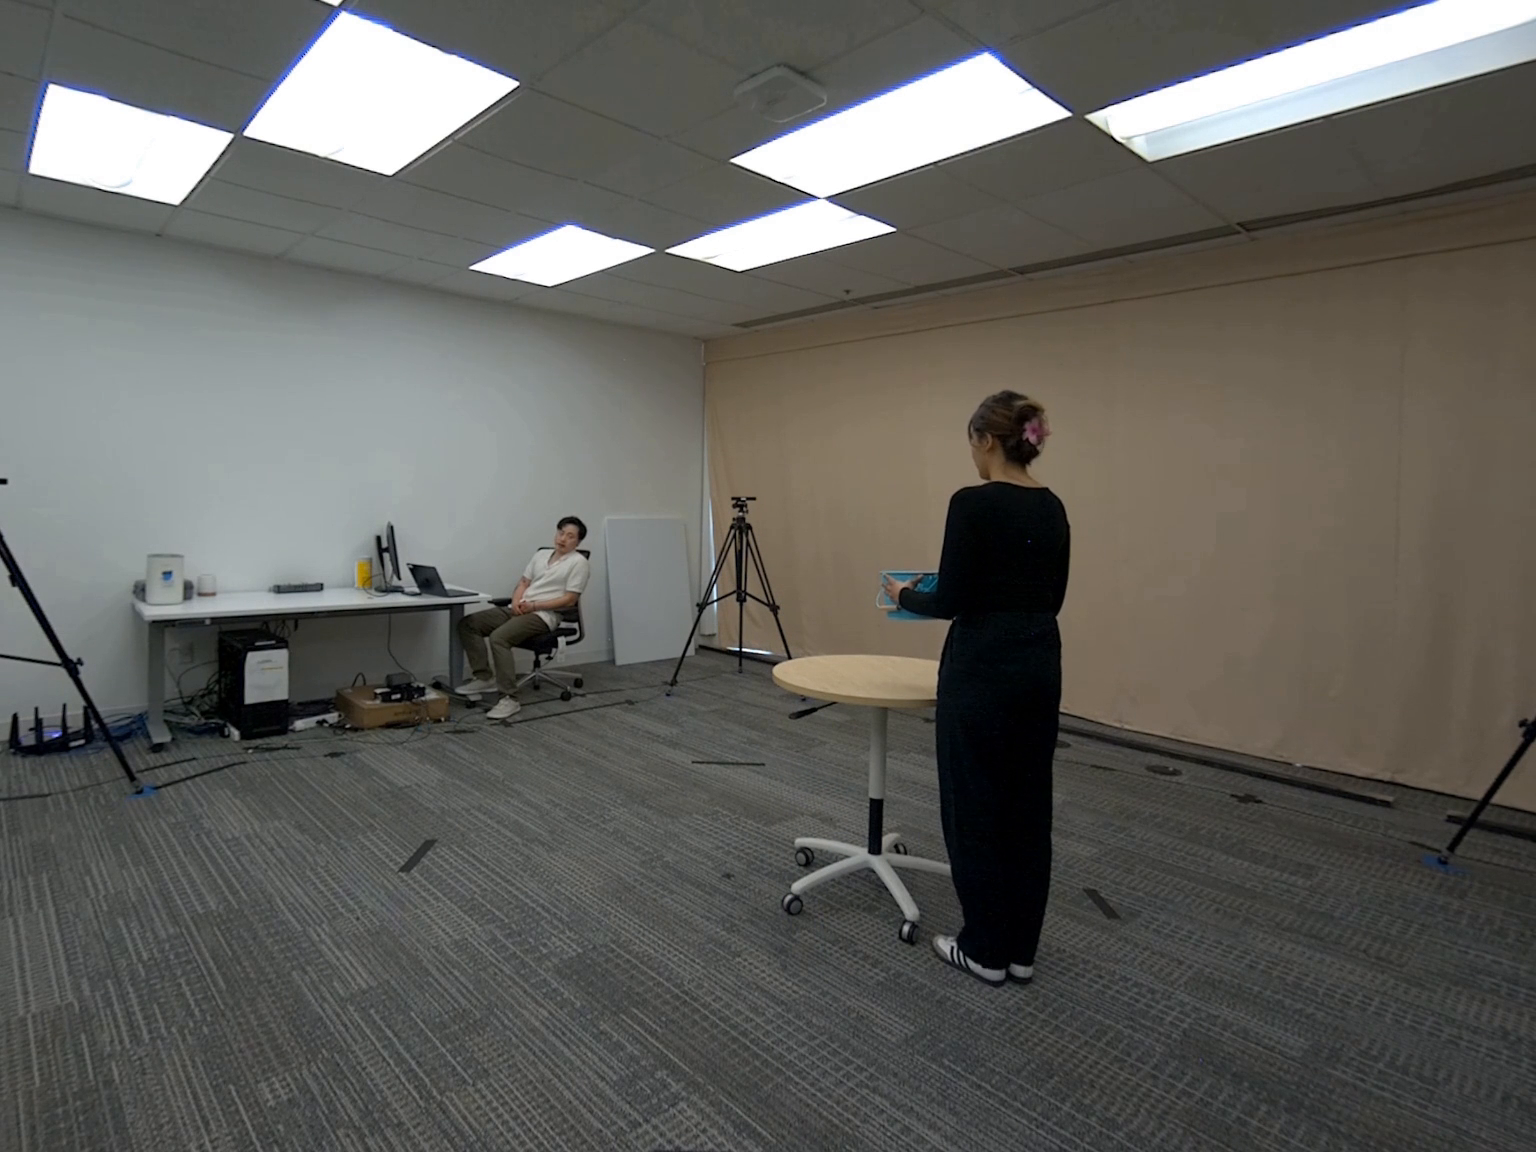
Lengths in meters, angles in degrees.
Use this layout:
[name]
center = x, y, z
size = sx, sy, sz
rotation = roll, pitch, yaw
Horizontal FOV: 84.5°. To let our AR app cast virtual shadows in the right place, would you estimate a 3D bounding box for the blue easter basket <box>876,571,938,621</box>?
[blue easter basket]
center = 0.480, 0.068, 2.768
size = 0.243, 0.156, 0.244
rotation = 1, 1, -1
